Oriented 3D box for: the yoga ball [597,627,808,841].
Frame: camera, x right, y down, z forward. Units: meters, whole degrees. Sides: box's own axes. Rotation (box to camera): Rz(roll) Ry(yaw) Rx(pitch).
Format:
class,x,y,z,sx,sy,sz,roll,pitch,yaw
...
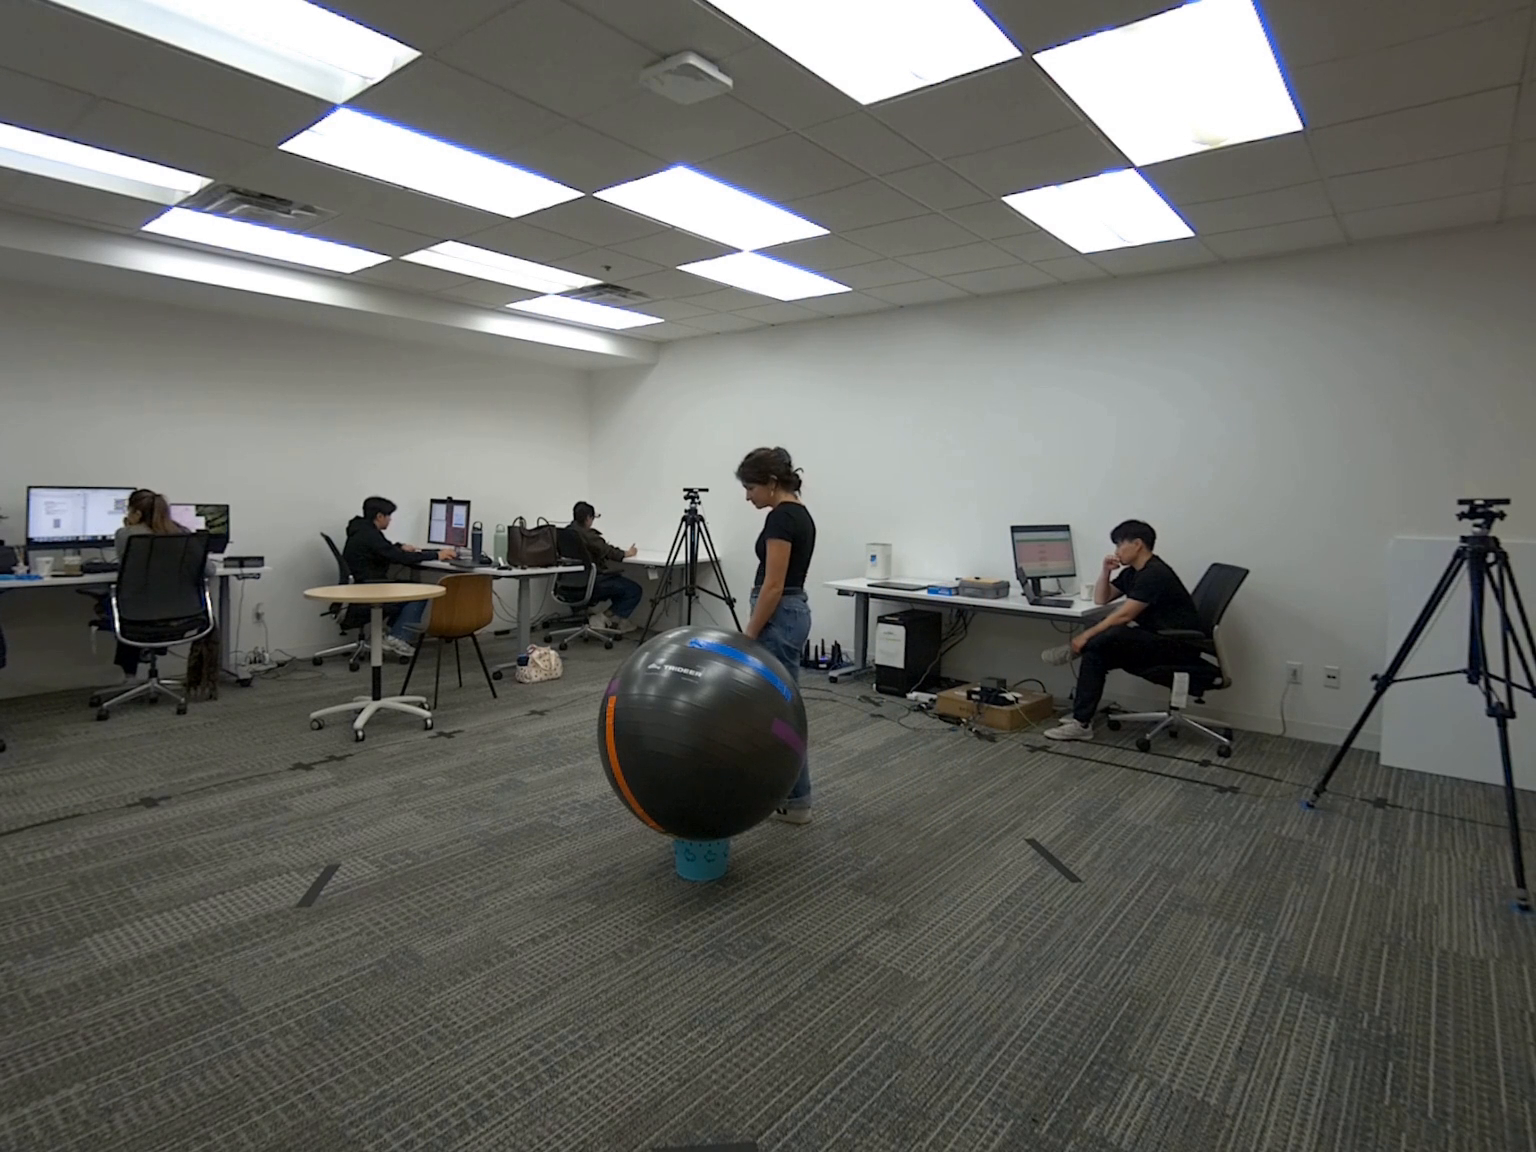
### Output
class,x,y,z,sx,sy,sz,roll,pitch,yaw
yoga ball,-0.244,0.558,3.084,0.757,0.756,0.762,1,4,-2
